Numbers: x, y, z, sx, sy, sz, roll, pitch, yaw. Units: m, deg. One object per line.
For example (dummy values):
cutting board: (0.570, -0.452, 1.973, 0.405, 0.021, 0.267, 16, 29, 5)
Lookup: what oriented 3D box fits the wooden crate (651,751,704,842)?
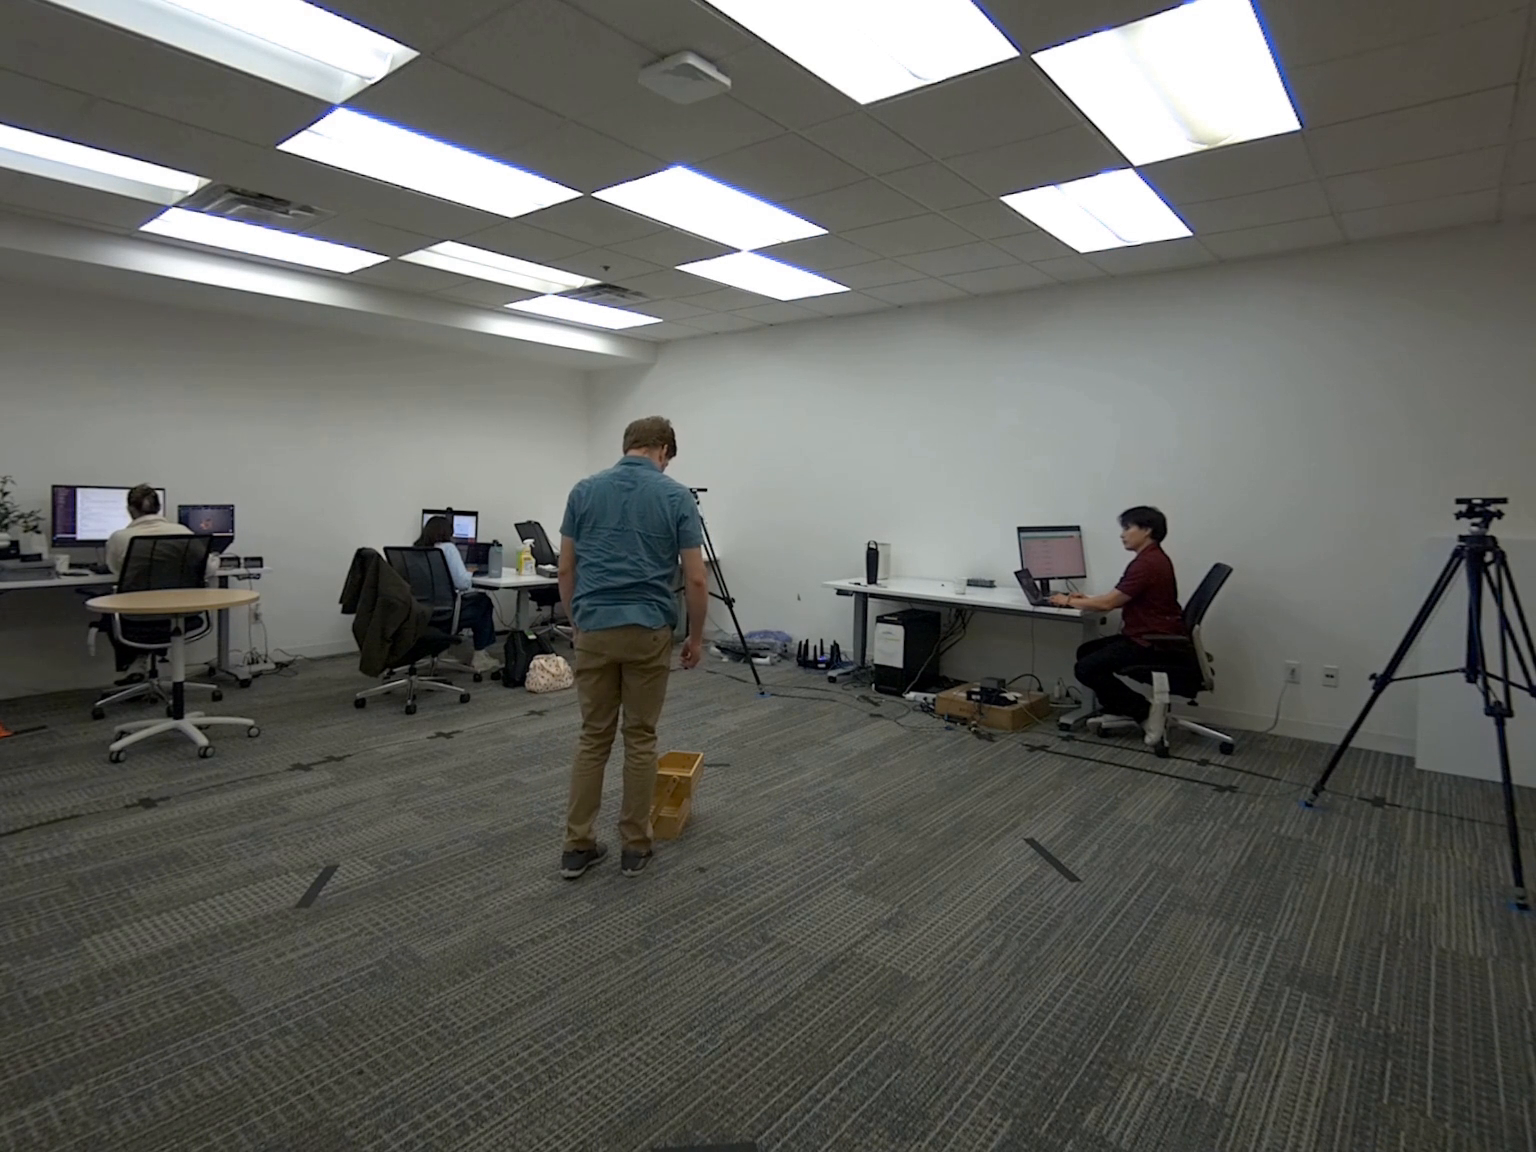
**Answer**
wooden crate: (-0.460, 0.892, 3.530, 0.305, 0.272, 0.323, 2, 5, 7)
